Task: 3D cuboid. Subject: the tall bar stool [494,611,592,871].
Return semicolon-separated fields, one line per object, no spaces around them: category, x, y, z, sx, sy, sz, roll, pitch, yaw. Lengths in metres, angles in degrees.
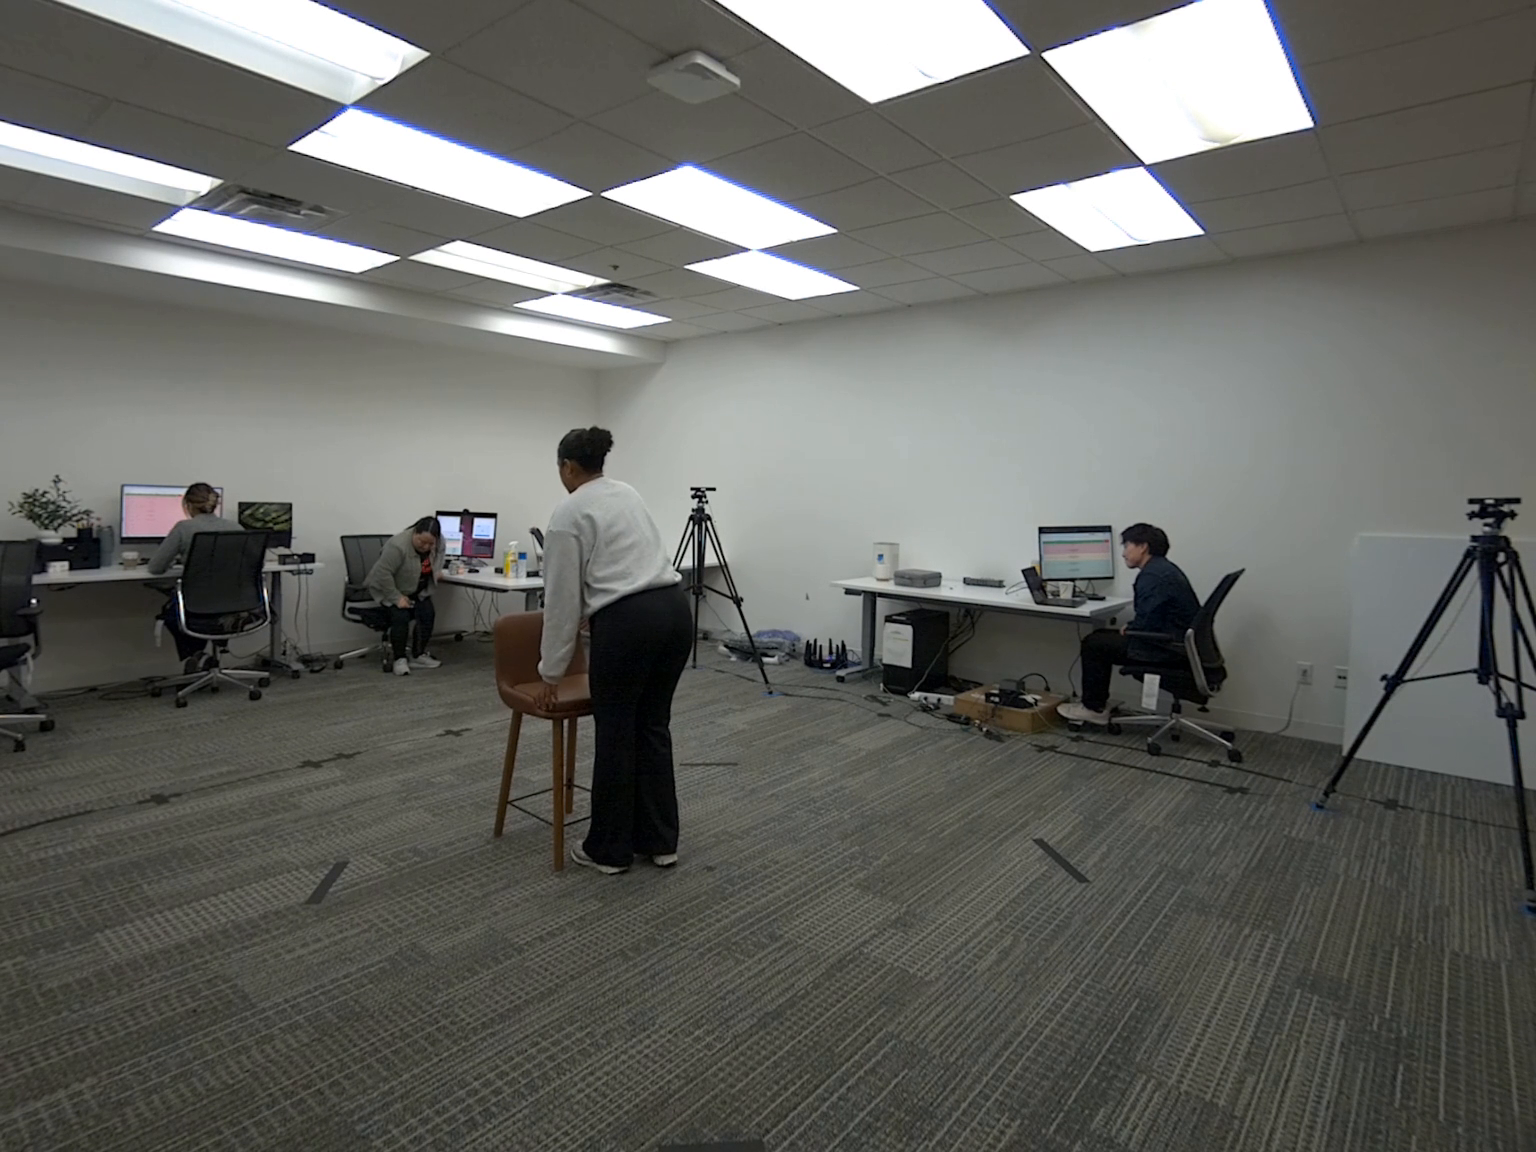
tall bar stool;-0.811;0.594;3.340;0.483;0.889;0.442;1;1;42
